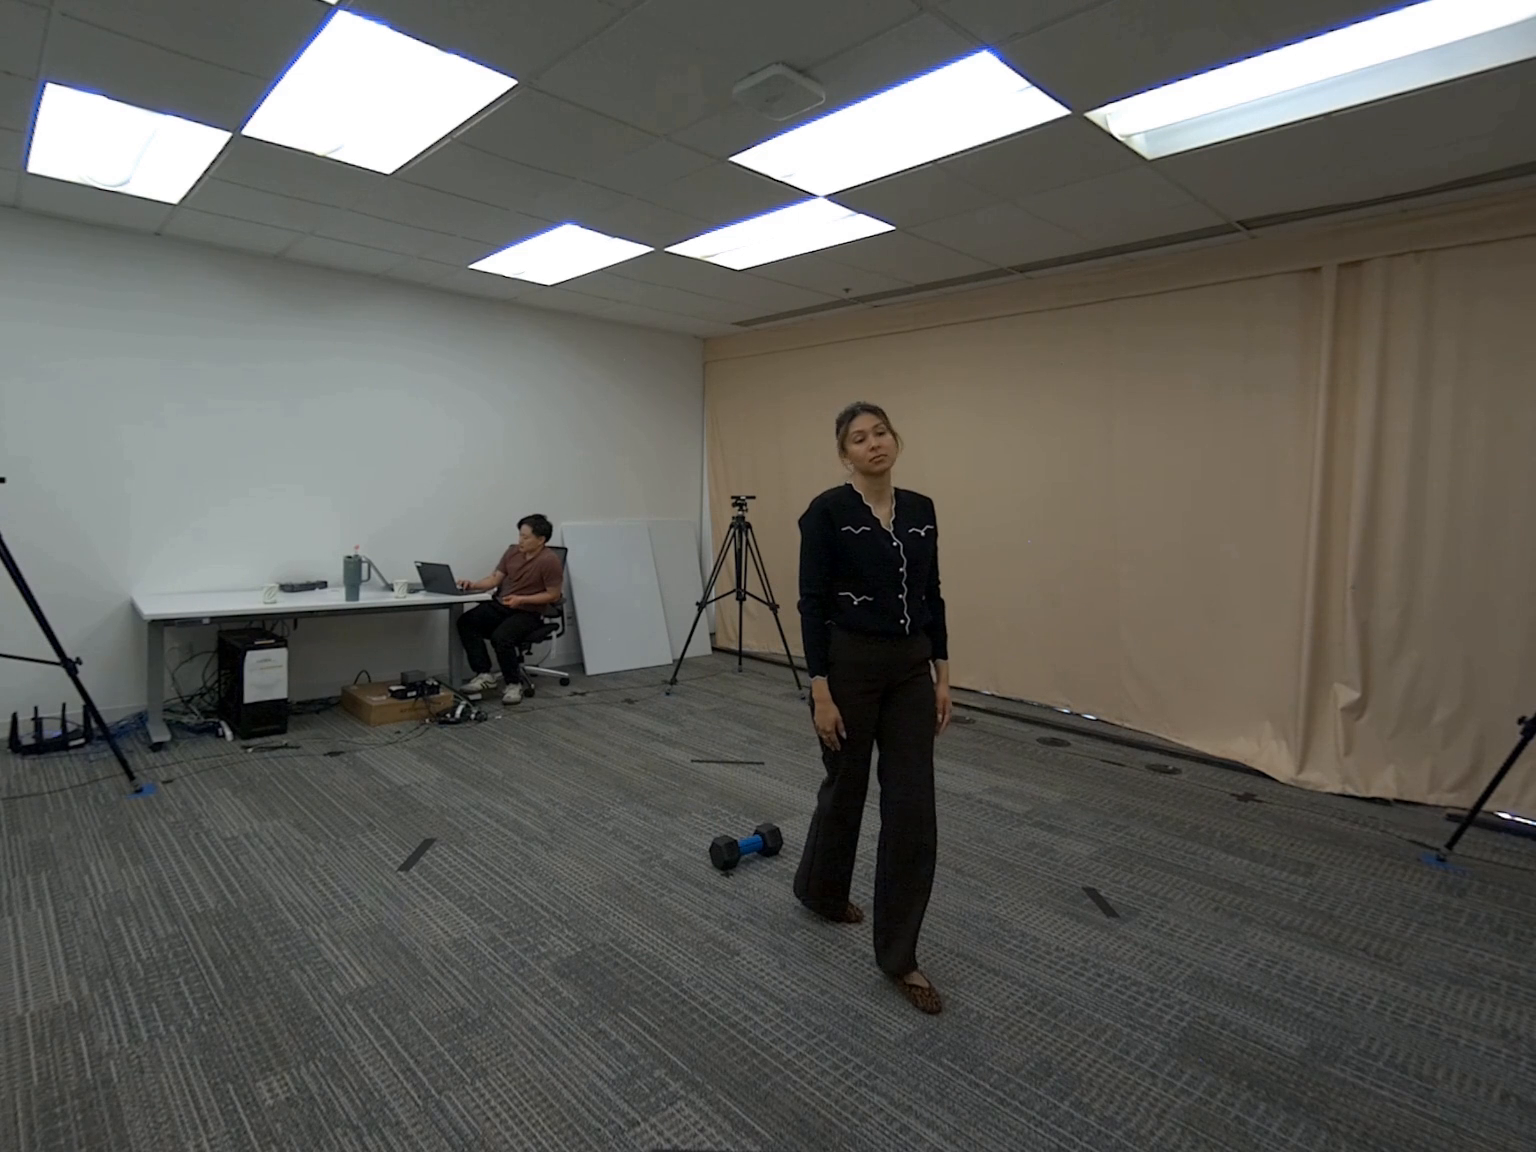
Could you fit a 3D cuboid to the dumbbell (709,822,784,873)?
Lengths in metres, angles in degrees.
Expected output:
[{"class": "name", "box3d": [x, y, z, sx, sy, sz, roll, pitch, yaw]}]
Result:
[{"class": "dumbbell", "box3d": [-0.088, 1.038, 3.229, 0.287, 0.108, 0.126, -4, 7, -40]}]
